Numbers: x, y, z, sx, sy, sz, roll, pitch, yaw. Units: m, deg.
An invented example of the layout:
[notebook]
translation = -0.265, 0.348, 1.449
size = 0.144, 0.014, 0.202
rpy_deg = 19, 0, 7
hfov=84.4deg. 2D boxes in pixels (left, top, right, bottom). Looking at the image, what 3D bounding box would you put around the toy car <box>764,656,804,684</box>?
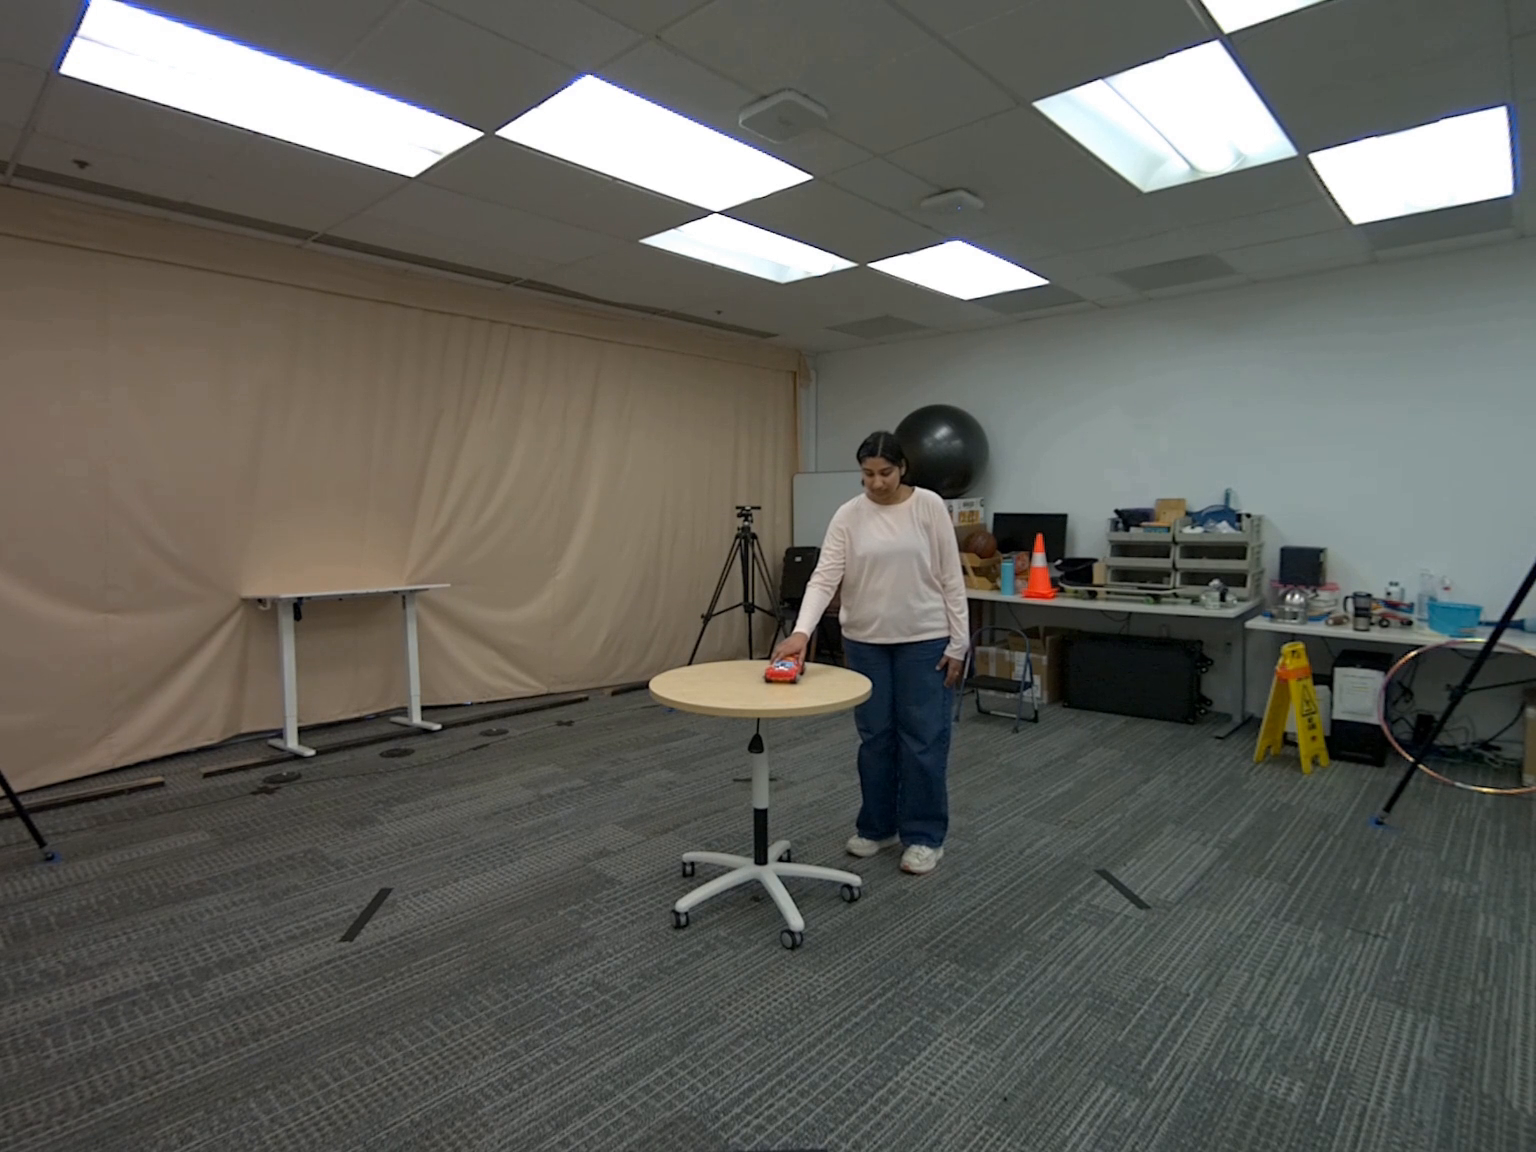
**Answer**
[toy car]
translation = 0.065, 0.327, 2.983
size = 0.132, 0.082, 0.254
rpy_deg = 0, 16, 10
